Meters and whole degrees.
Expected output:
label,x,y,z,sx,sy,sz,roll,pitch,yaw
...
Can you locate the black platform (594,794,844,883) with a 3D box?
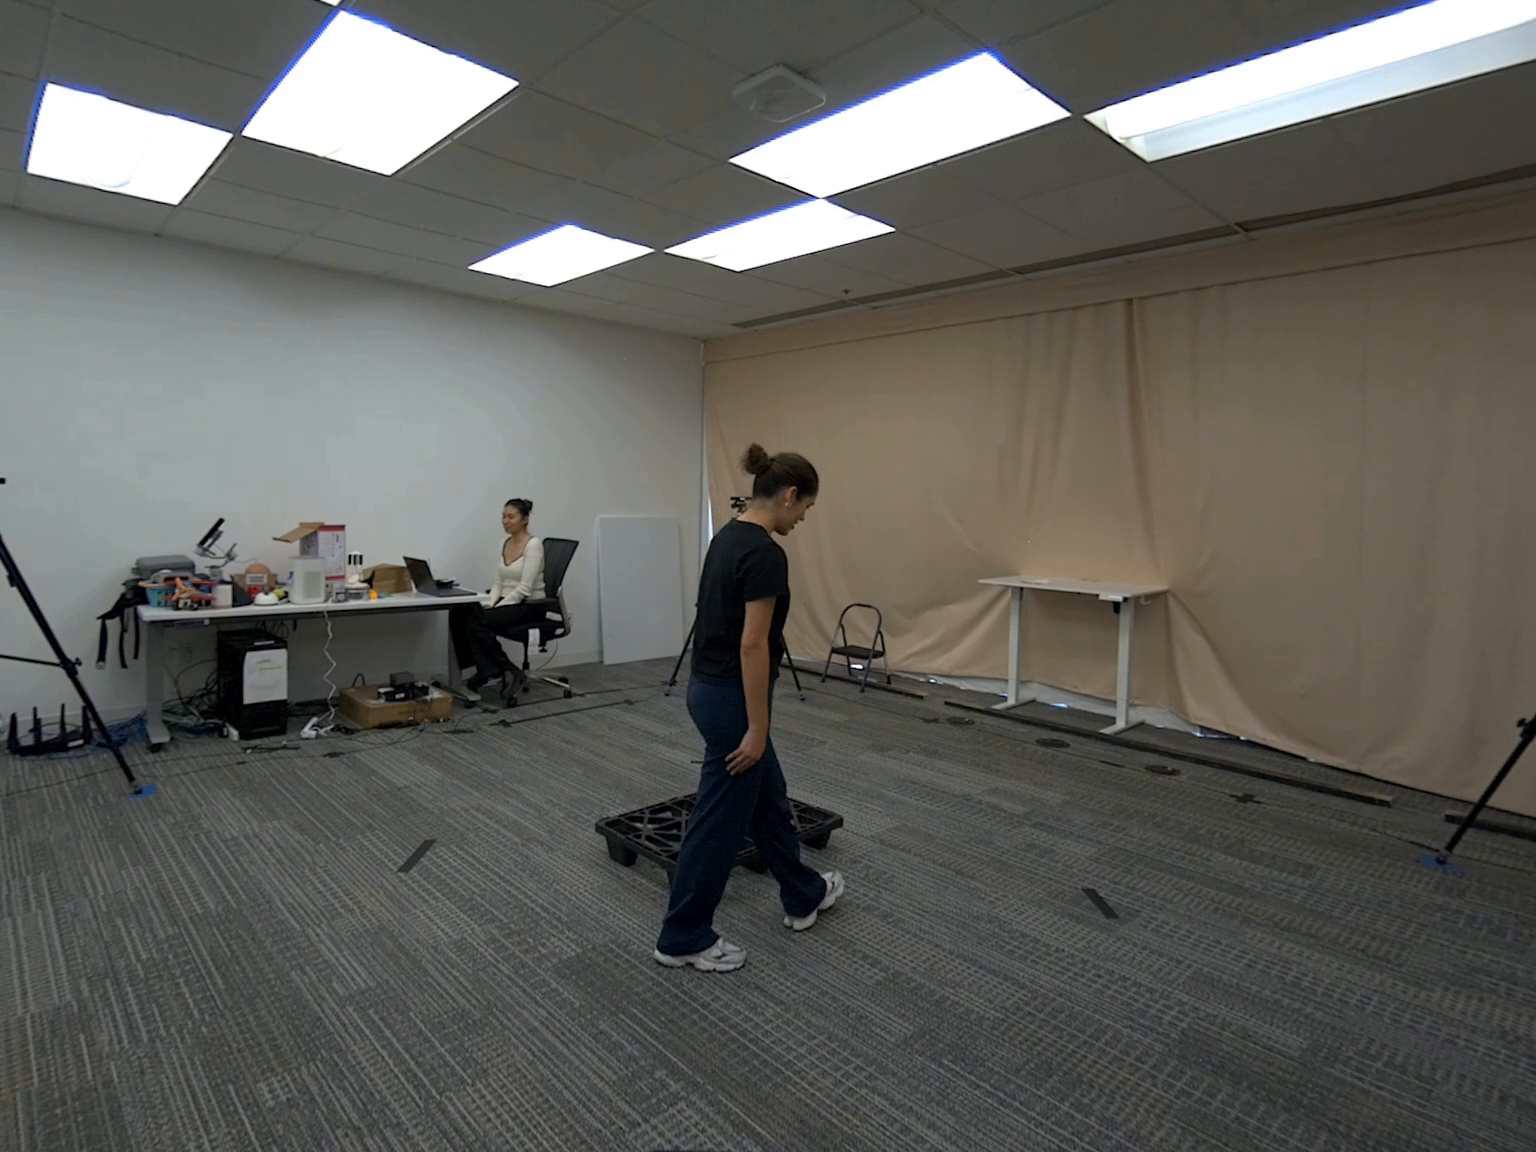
label,x,y,z,sx,sy,sz,roll,pitch,yaw
black platform,-0.192,1.024,3.293,0.787,0.143,0.620,-3,6,-44
